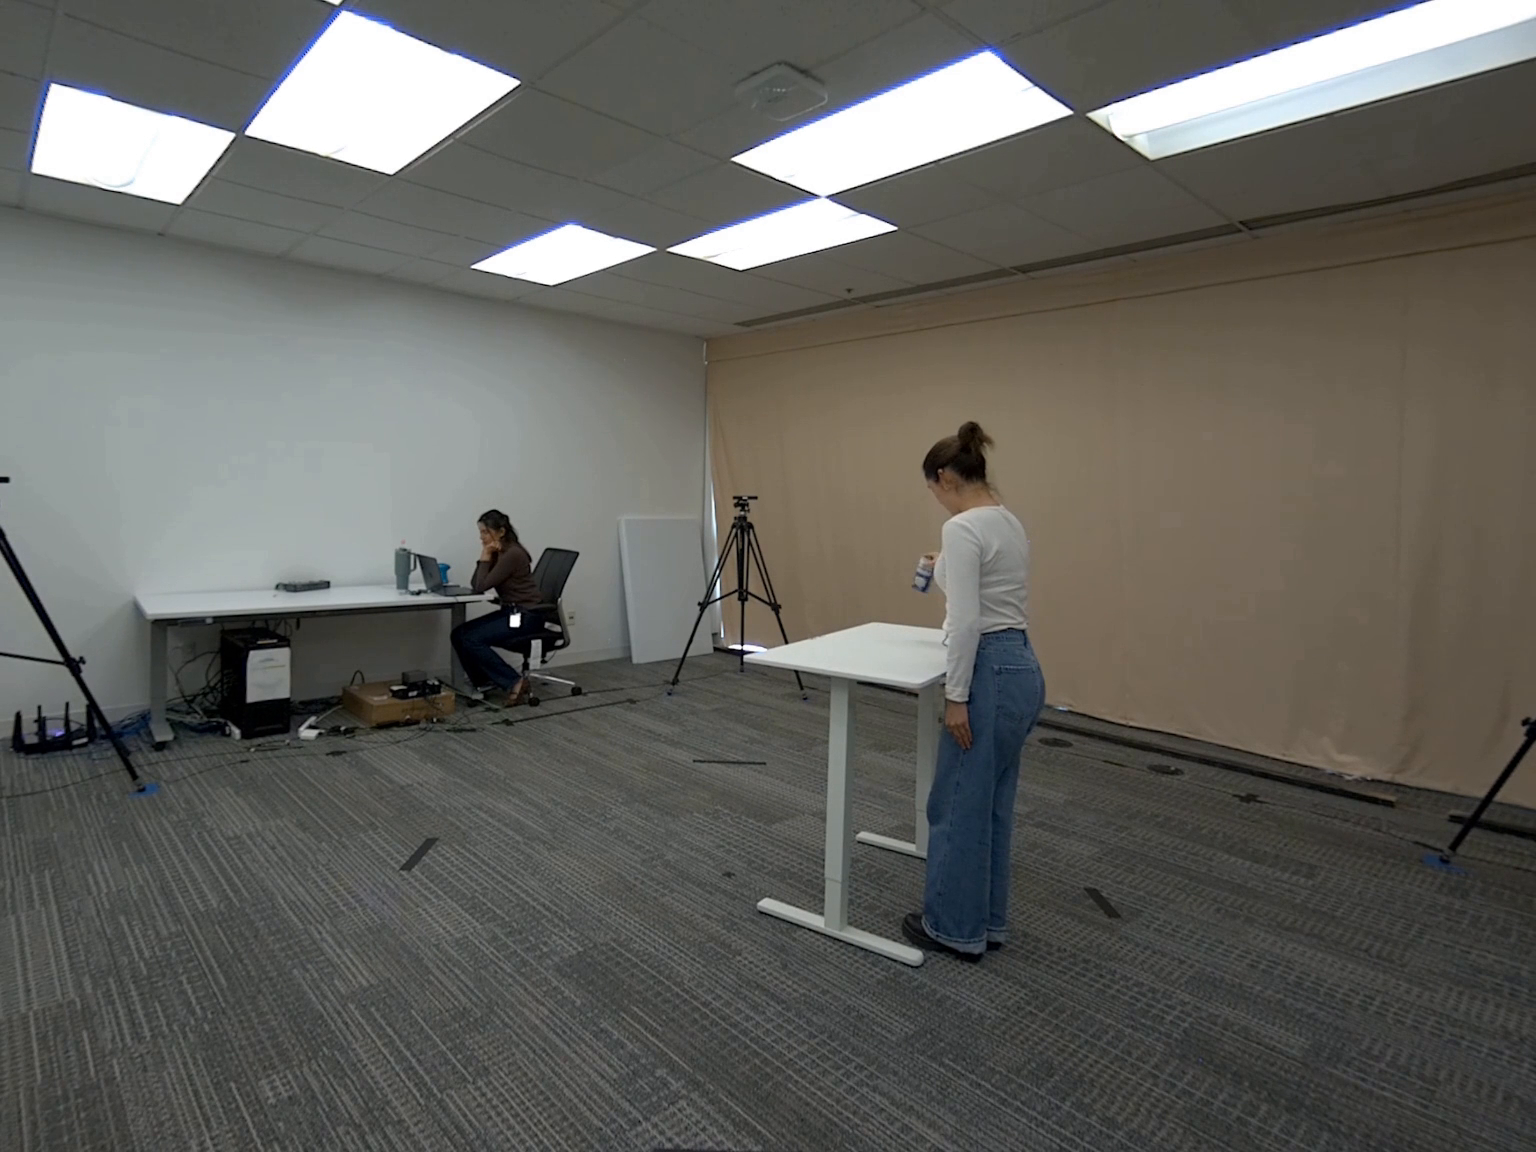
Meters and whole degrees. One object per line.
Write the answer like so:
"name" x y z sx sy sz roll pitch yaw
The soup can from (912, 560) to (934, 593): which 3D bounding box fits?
"soup can" 0.566 -0.004 3.062 0.067 0.120 0.068 3 11 -2
